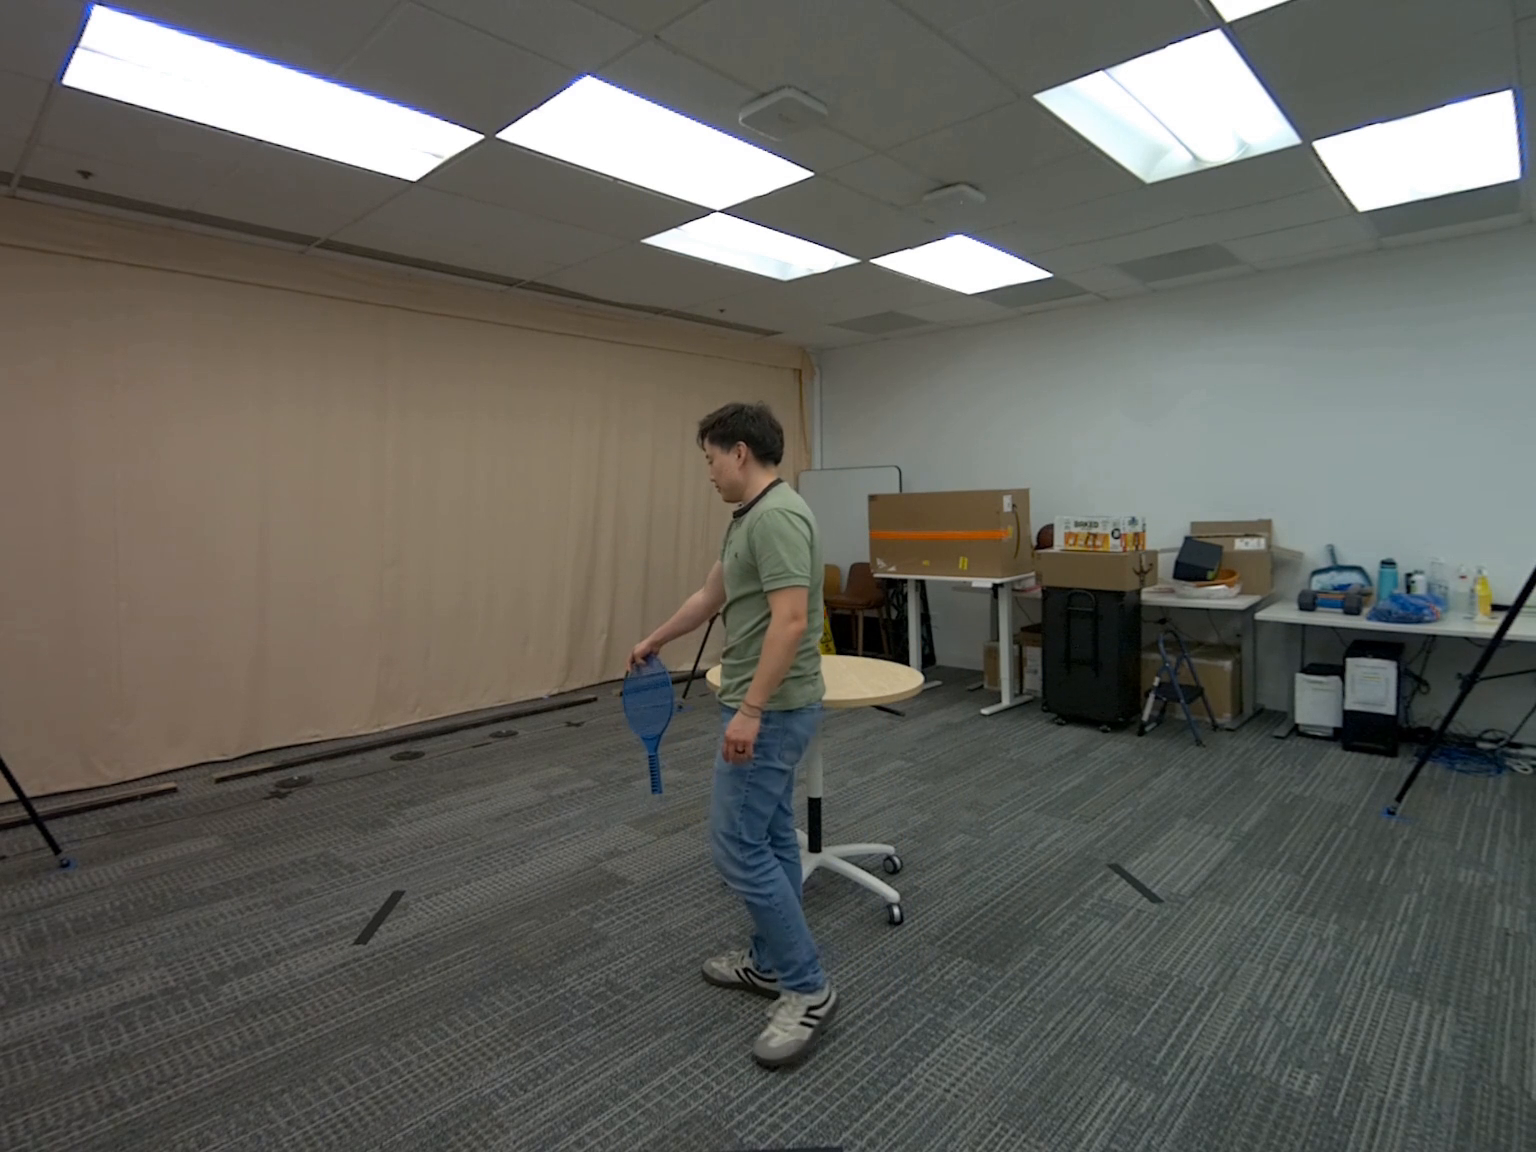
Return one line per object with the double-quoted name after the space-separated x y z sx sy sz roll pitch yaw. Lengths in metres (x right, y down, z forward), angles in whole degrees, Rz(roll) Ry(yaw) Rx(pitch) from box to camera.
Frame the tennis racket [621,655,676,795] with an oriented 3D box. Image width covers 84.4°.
-0.359 0.460 2.643 0.219 0.437 0.030 -17 -18 36 "tennis racket"
